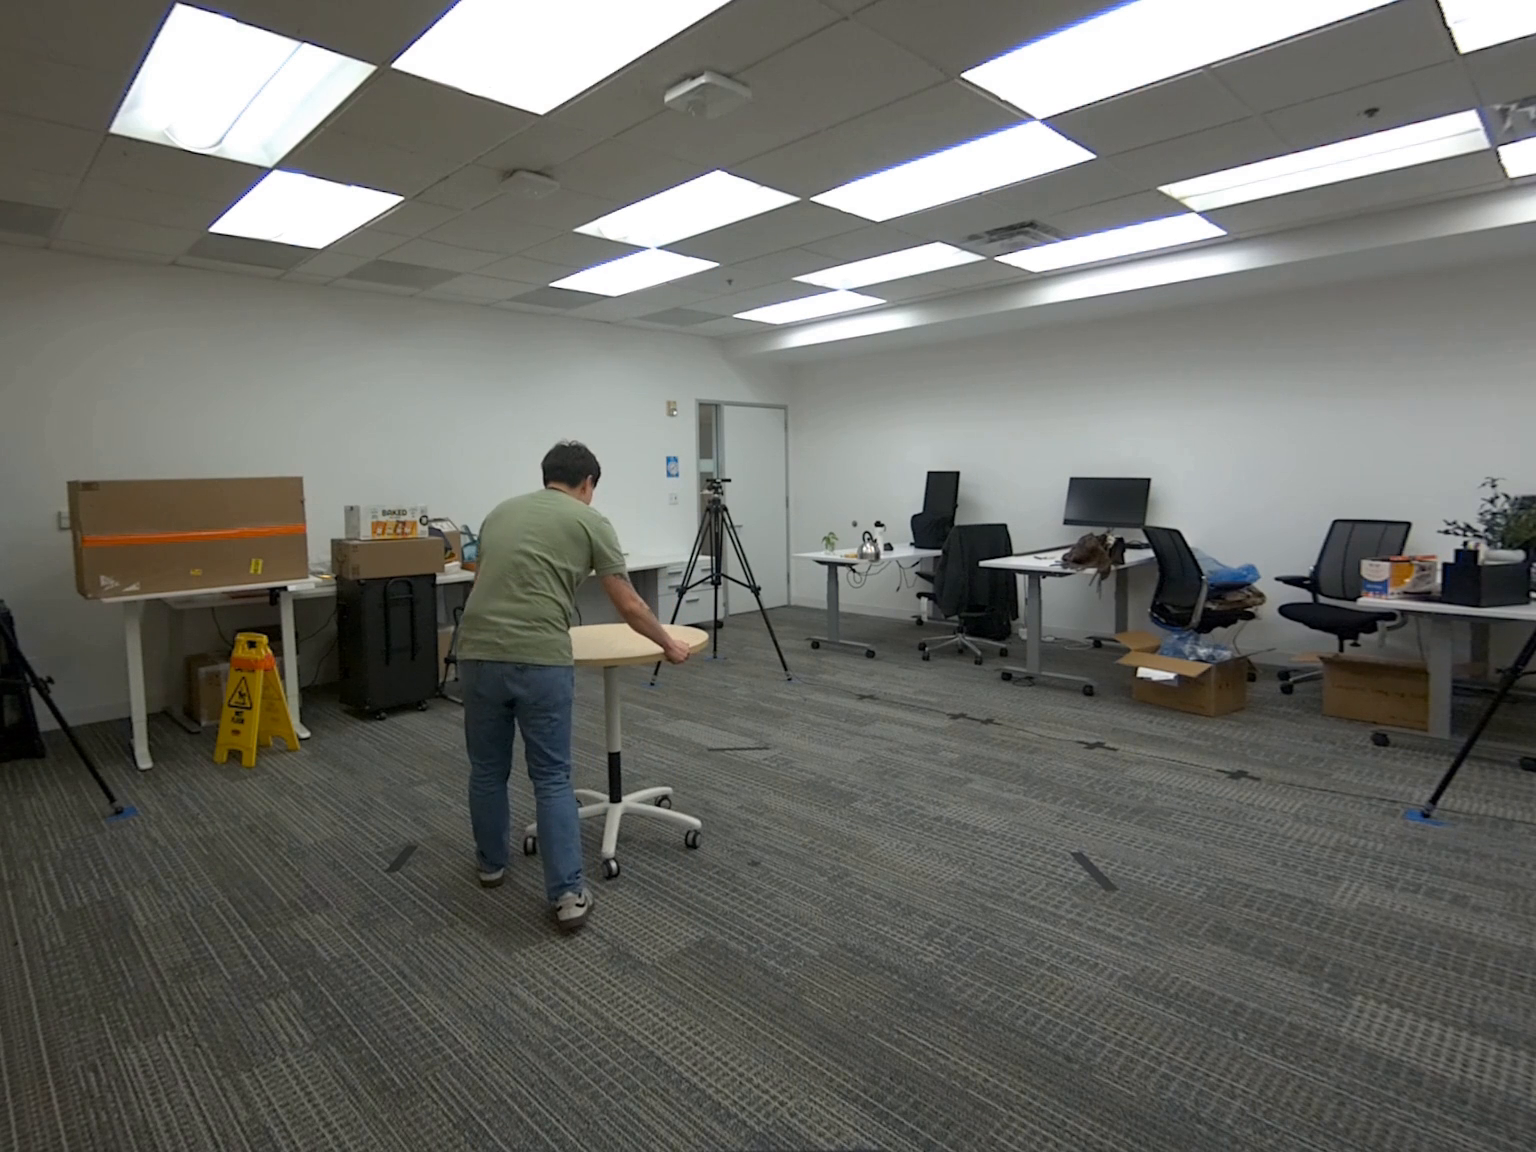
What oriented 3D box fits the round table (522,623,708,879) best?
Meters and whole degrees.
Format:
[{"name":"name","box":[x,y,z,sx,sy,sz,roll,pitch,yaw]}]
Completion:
[{"name":"round table","box":[-0.599,0.639,3.340,0.763,0.791,0.767,-2,4,-2]}]
